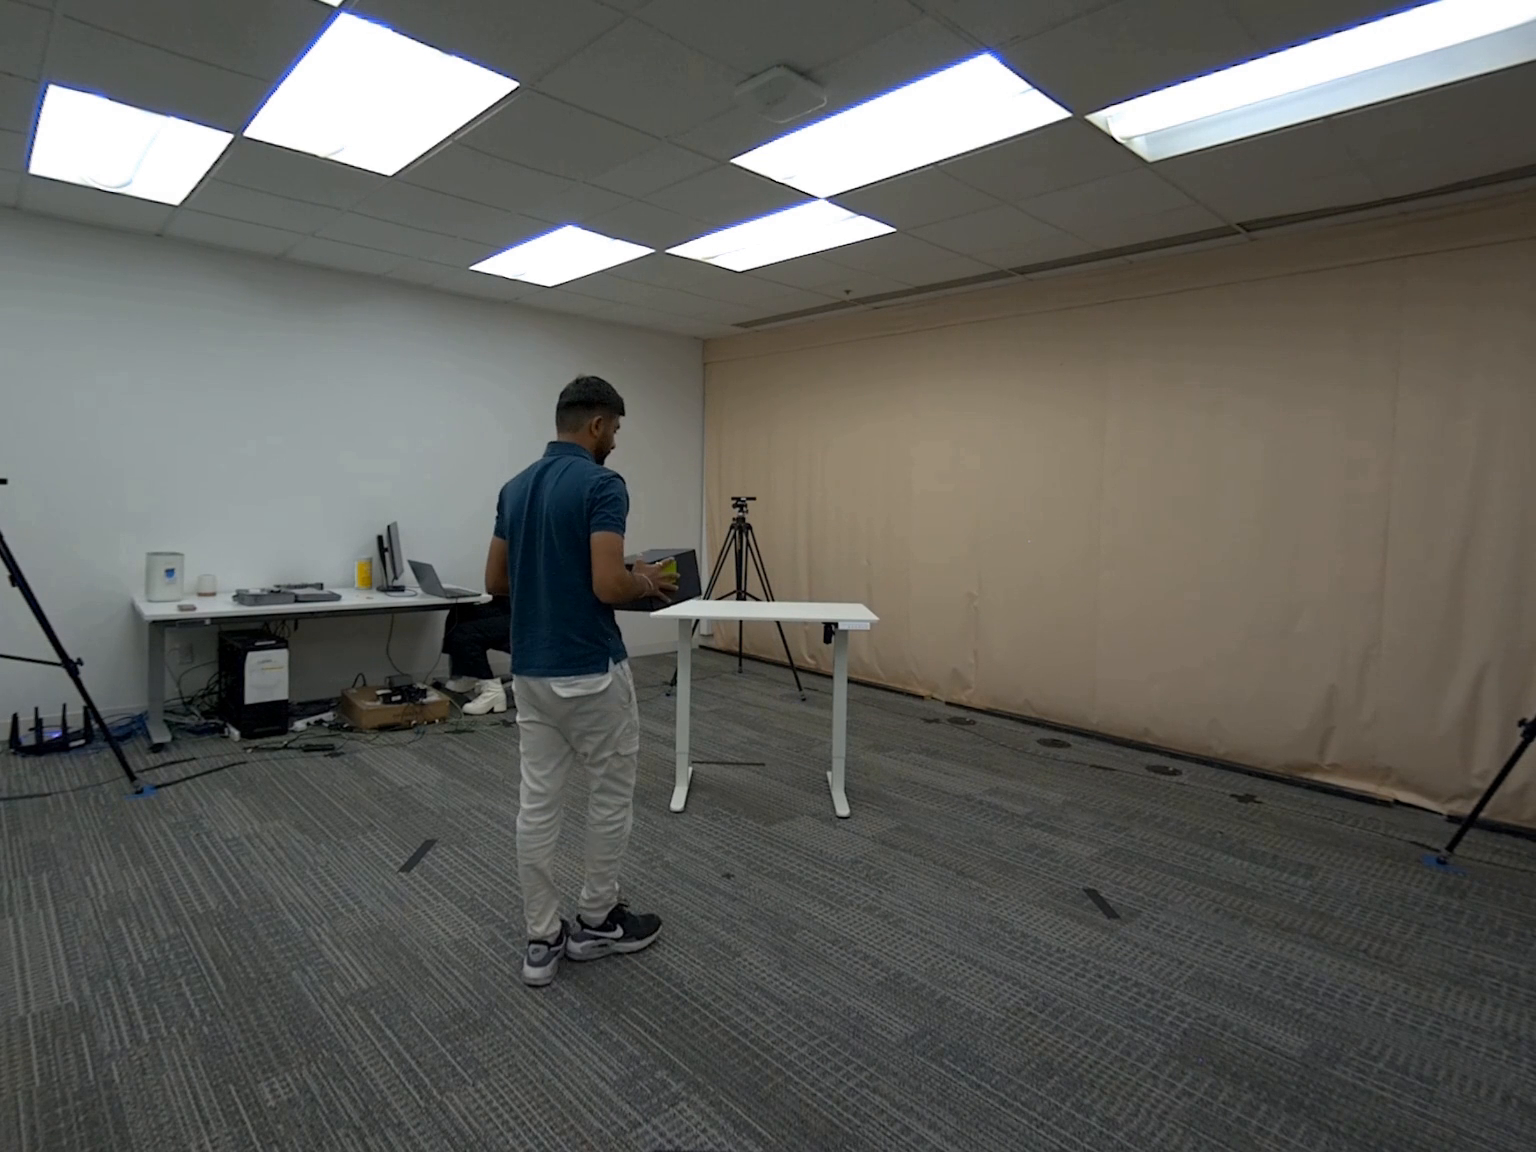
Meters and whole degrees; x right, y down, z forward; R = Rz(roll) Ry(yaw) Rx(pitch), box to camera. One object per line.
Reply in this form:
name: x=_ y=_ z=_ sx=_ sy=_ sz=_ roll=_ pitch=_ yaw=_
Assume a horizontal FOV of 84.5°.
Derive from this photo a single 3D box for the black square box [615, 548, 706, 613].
black square box: x=-0.366 y=0.008 z=2.709 sx=0.222 sy=0.155 sz=0.224 roll=2 pitch=11 yaw=37
